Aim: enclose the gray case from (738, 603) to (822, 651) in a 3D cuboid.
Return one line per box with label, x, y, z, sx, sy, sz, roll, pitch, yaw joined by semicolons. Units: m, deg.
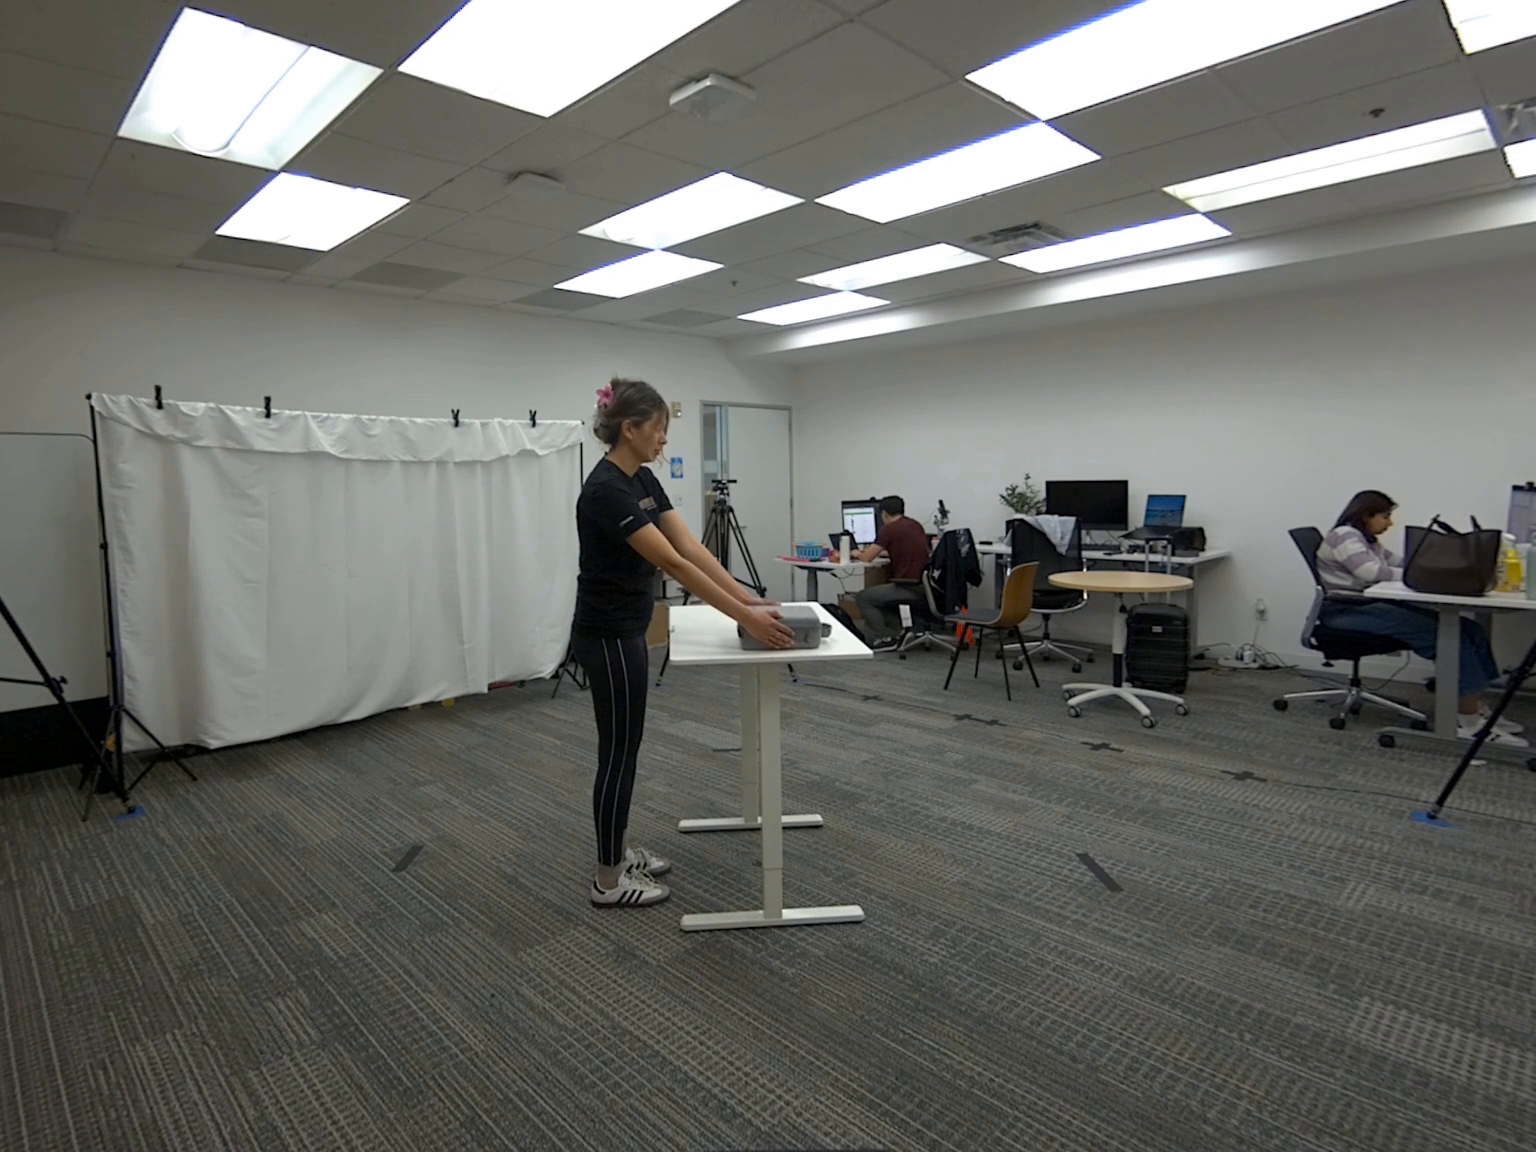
gray case;0.039;0.162;2.705;0.260;0.104;0.259;-1;5;-3
